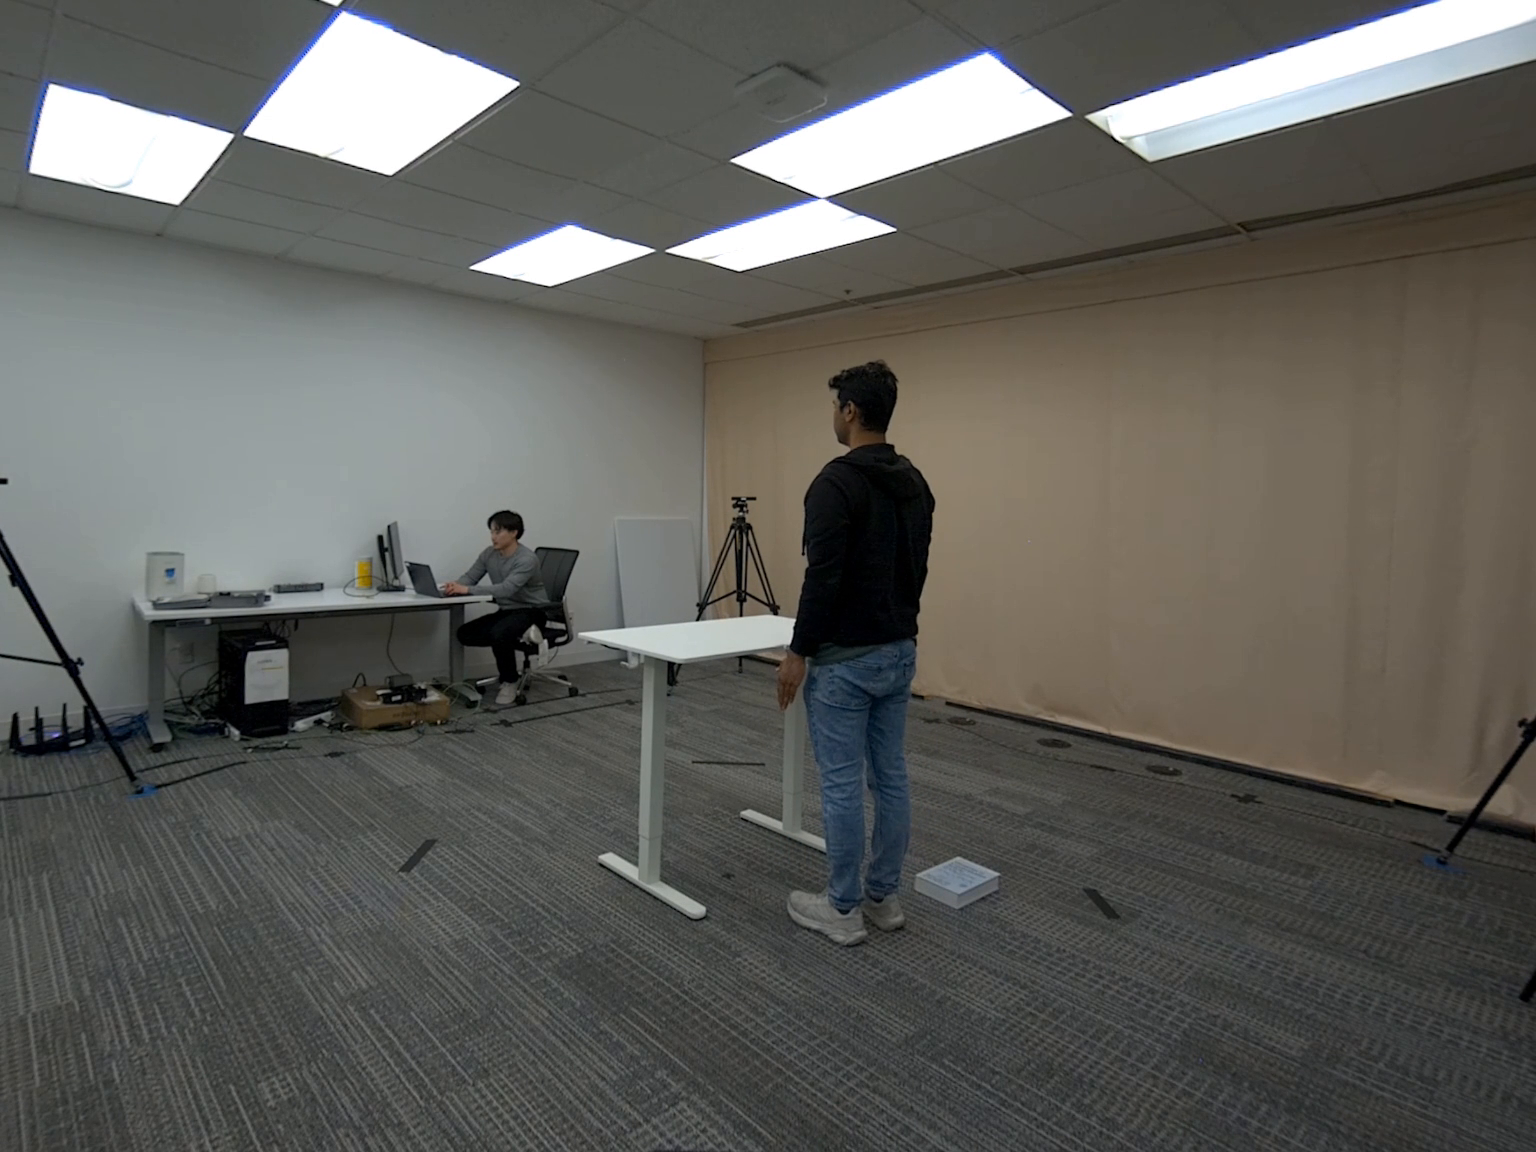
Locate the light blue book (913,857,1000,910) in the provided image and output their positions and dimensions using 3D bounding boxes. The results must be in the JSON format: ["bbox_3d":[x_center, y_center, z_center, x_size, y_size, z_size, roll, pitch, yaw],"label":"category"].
[{"bbox_3d":[0.676,1.102,3.040,0.255,0.059,0.196,-3,7,-42],"label":"light blue book"}]
